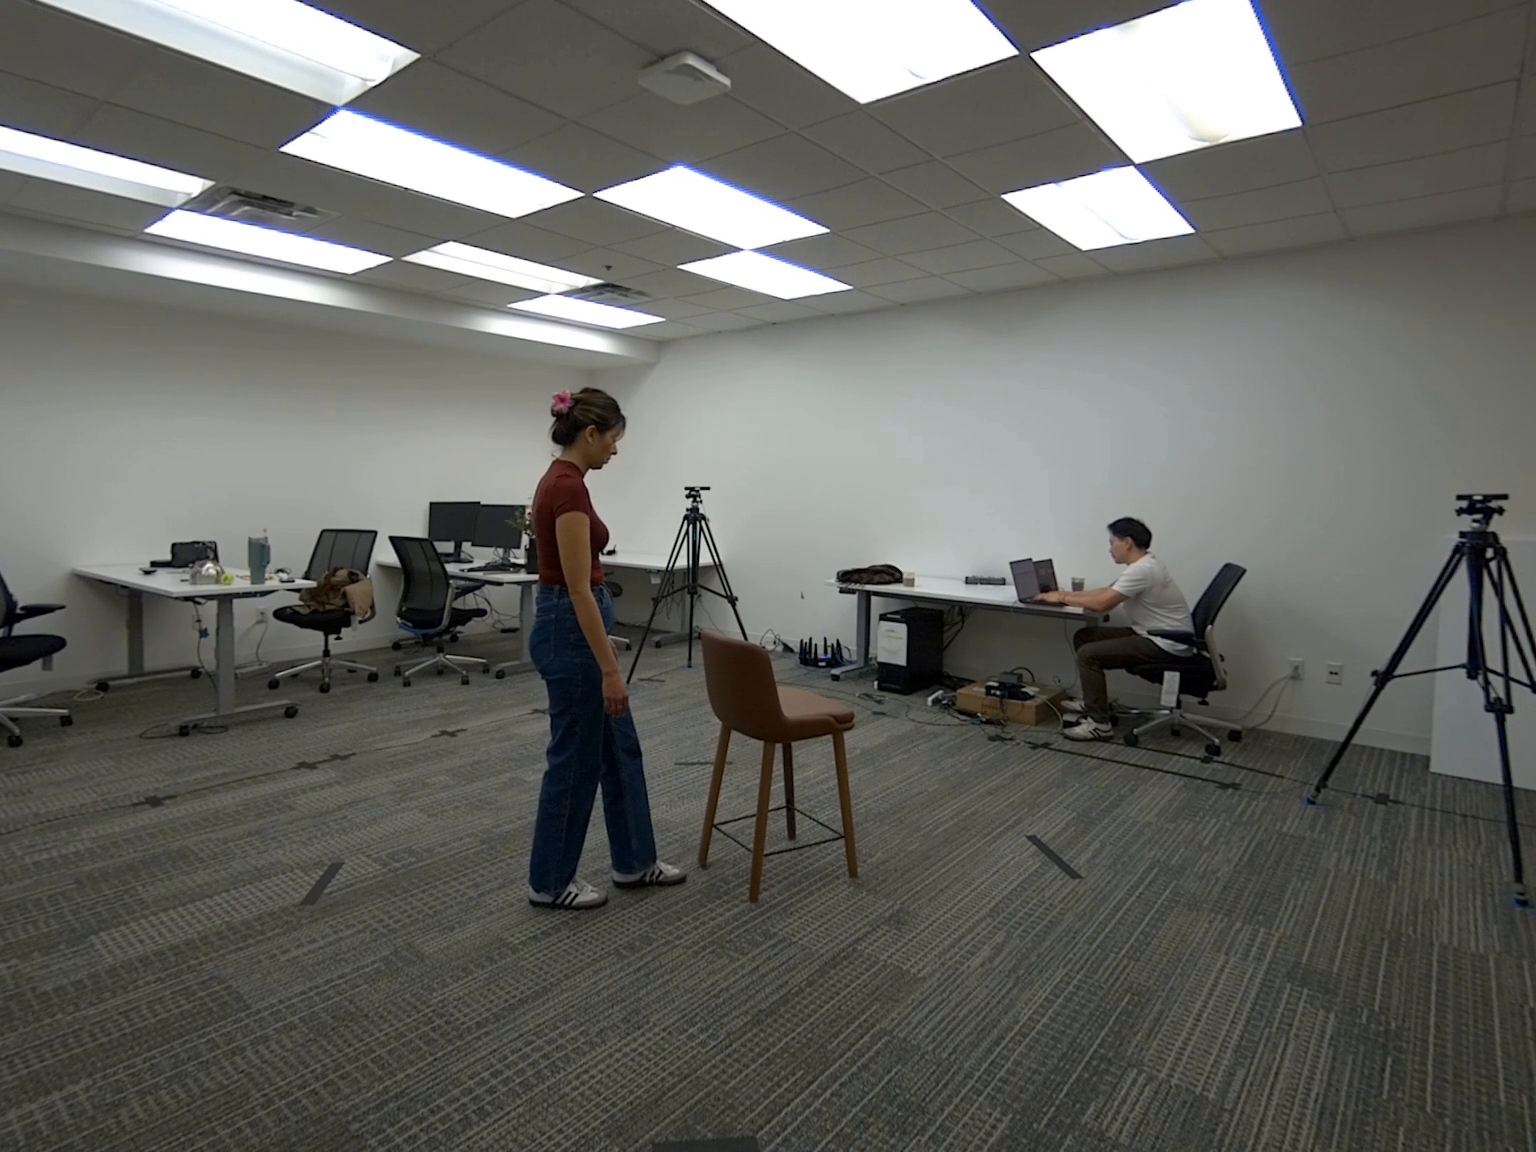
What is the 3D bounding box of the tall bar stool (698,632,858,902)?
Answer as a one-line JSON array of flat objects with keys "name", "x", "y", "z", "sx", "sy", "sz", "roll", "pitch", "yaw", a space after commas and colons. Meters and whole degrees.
[{"name": "tall bar stool", "x": 0.018, "y": 0.632, "z": 3.095, "sx": 0.455, "sy": 0.887, "sz": 0.470, "roll": -3, "pitch": 4, "yaw": -33}]
